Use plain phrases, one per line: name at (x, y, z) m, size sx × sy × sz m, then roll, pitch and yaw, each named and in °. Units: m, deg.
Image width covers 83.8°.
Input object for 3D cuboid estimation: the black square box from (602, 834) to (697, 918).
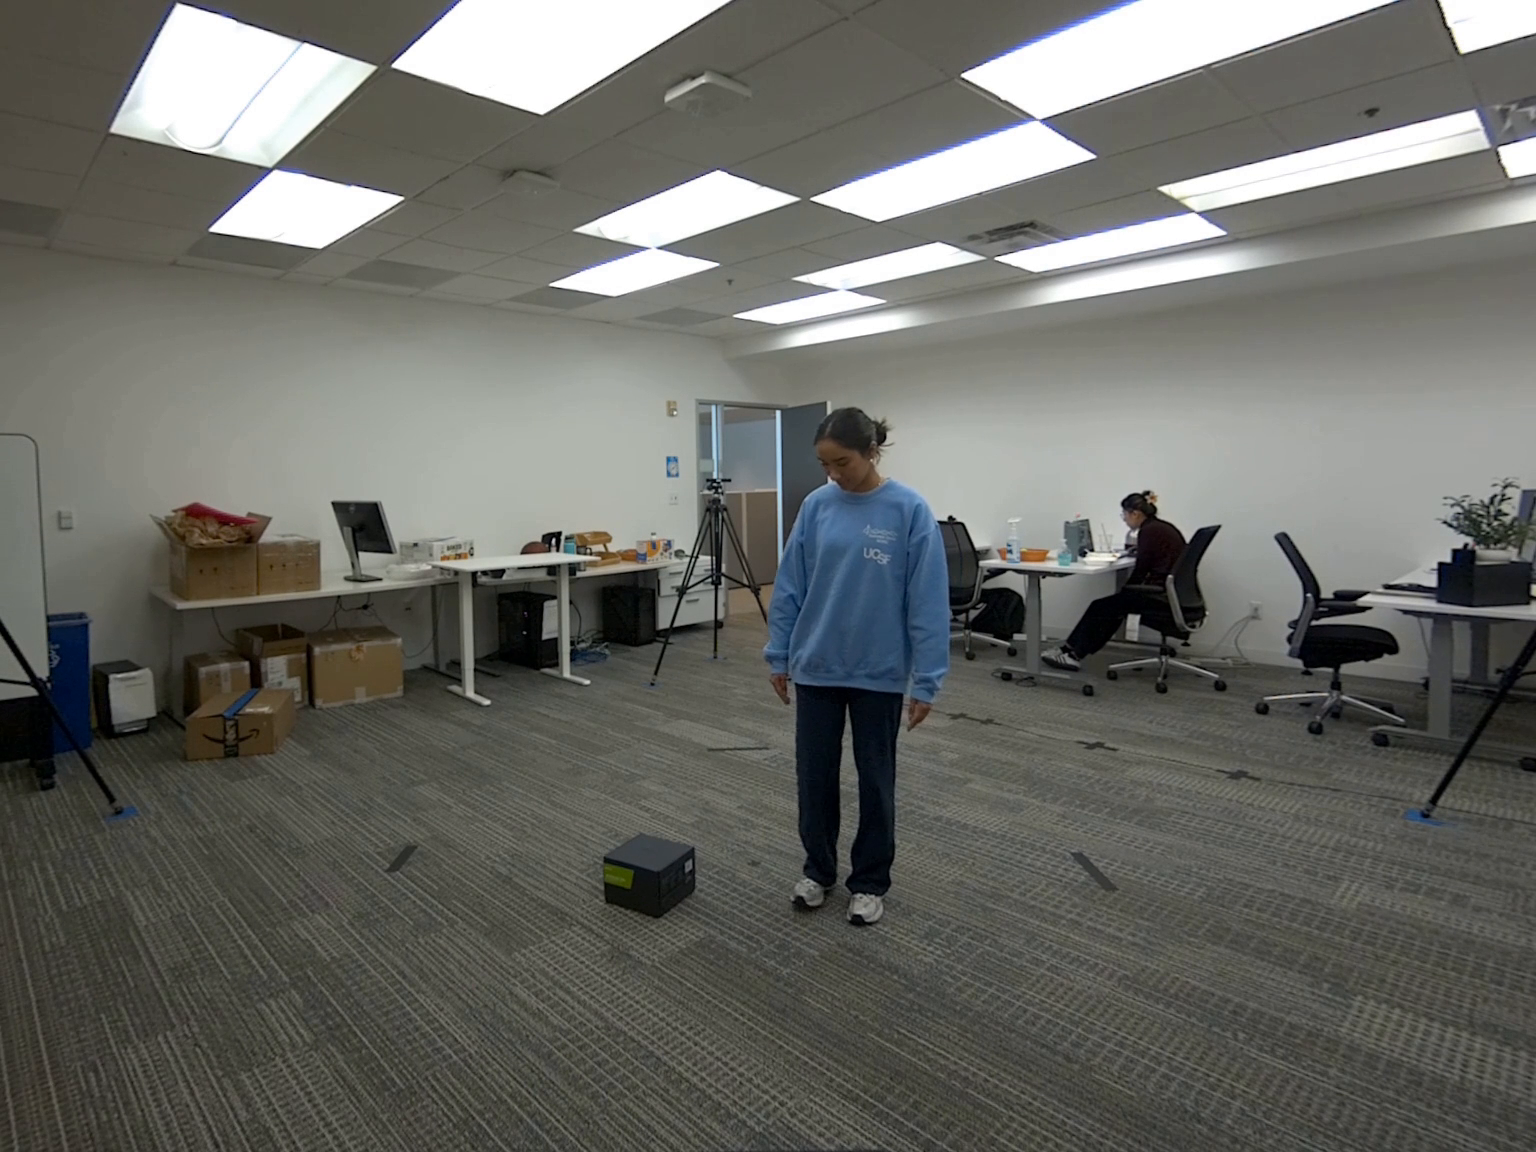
black square box at (-0.392, 0.994, 2.863) m, size 0.234 × 0.155 × 0.212 m, roll 2°, pitch 7°, yaw 29°
